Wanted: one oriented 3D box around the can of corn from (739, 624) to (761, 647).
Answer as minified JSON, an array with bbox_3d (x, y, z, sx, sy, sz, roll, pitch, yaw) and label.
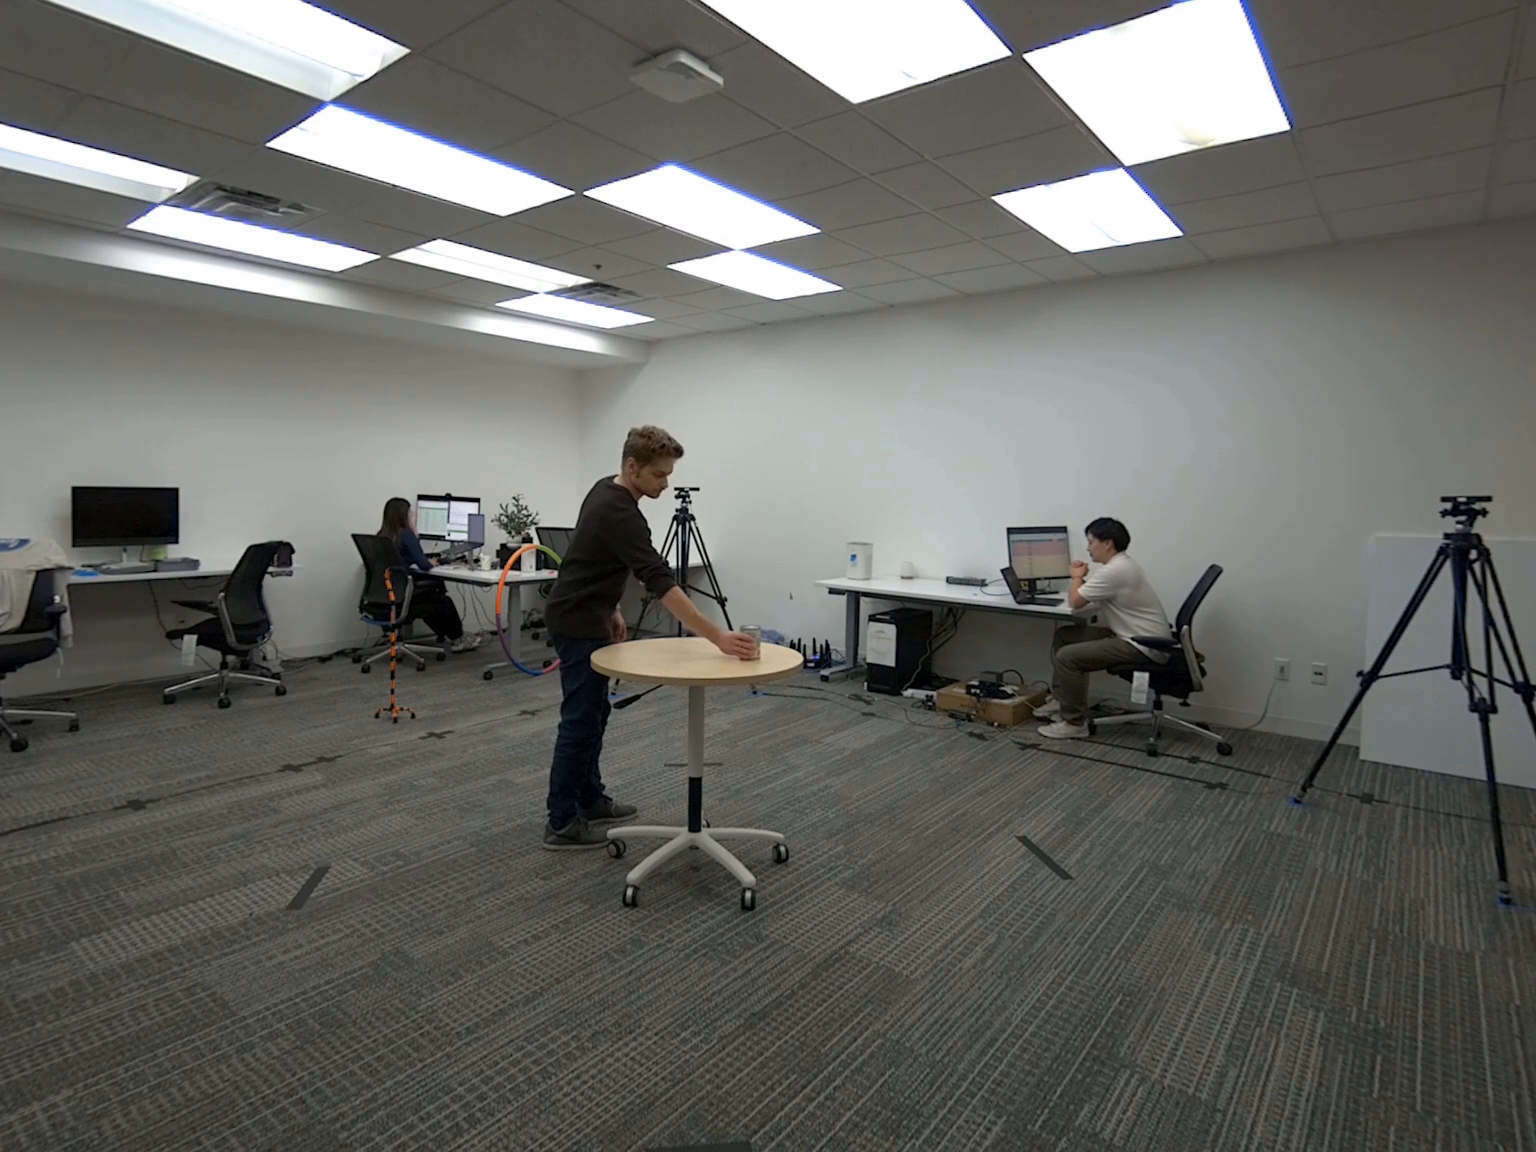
[{"bbox_3d":[-0.072,0.236,3.026,0.074,0.110,0.074,-1,4,-2],"label":"can of corn"}]
